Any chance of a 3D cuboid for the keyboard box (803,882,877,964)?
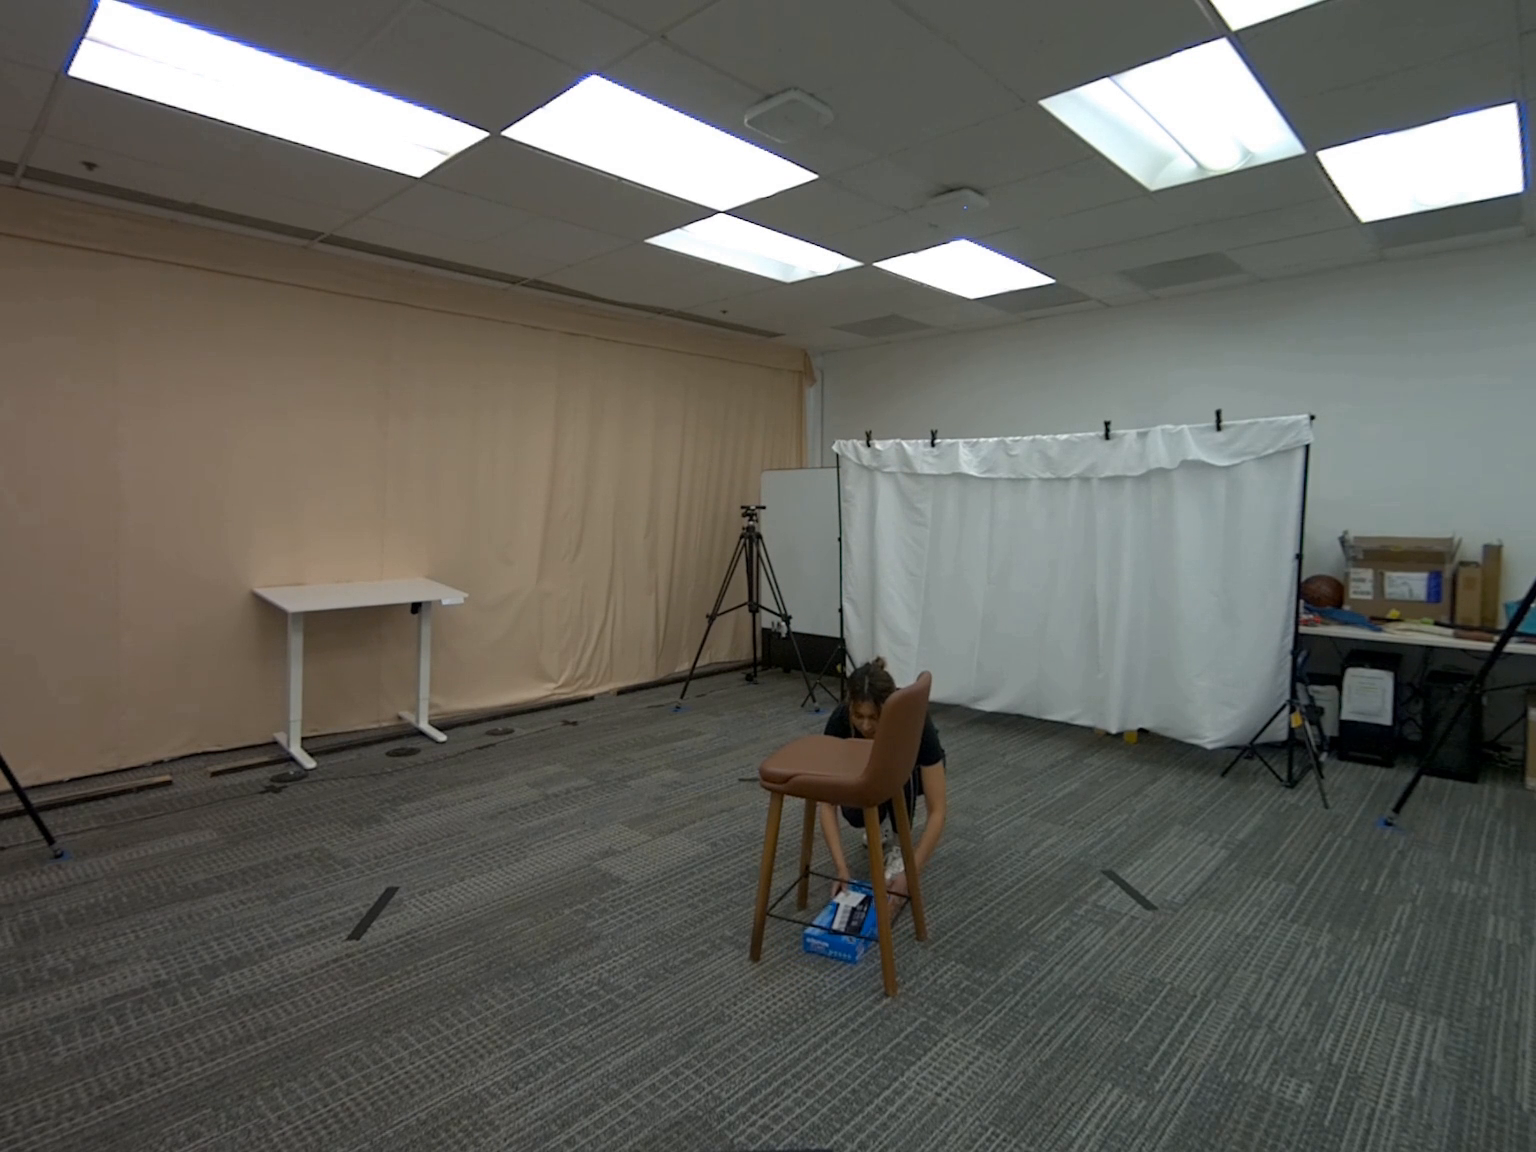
[{"bbox_3d":[0.278,1.133,2.780,0.180,0.059,0.426,3,5,25],"label":"keyboard box"}]
